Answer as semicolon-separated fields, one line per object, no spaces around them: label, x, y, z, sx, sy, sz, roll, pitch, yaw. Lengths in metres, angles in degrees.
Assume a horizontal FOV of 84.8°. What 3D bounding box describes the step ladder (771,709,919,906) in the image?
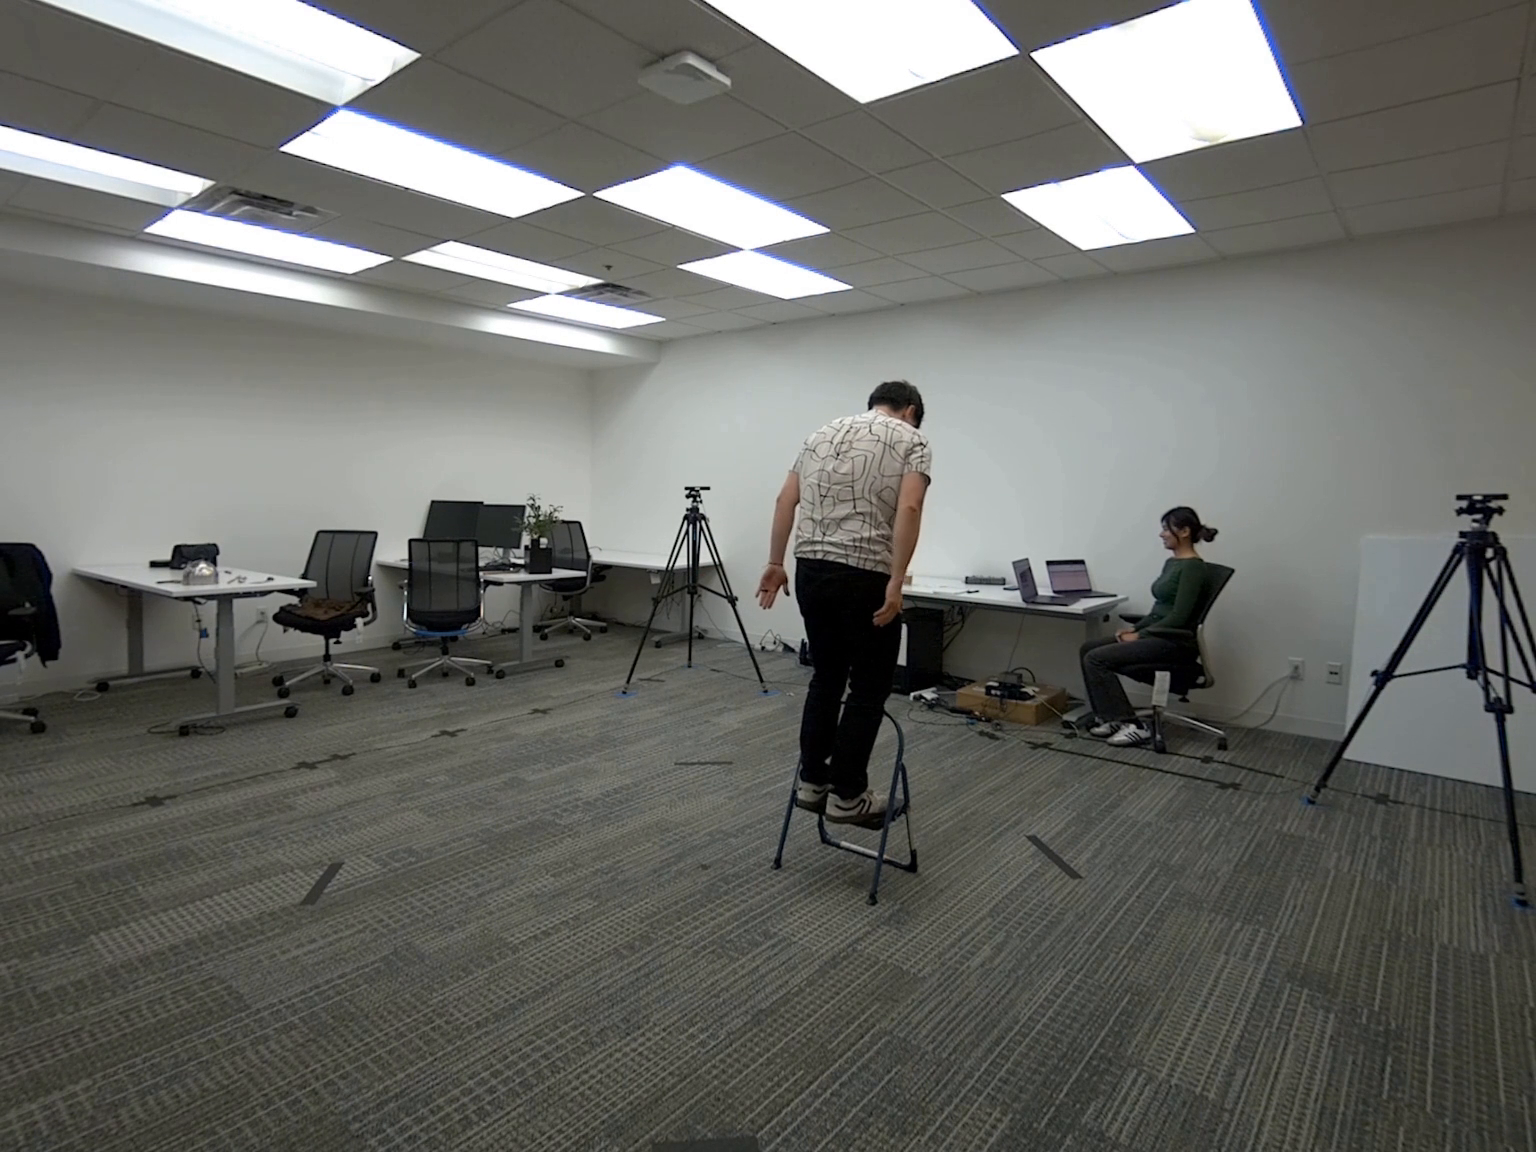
step ladder;0.285;0.769;3.104;0.445;0.604;0.339;4;4;37
